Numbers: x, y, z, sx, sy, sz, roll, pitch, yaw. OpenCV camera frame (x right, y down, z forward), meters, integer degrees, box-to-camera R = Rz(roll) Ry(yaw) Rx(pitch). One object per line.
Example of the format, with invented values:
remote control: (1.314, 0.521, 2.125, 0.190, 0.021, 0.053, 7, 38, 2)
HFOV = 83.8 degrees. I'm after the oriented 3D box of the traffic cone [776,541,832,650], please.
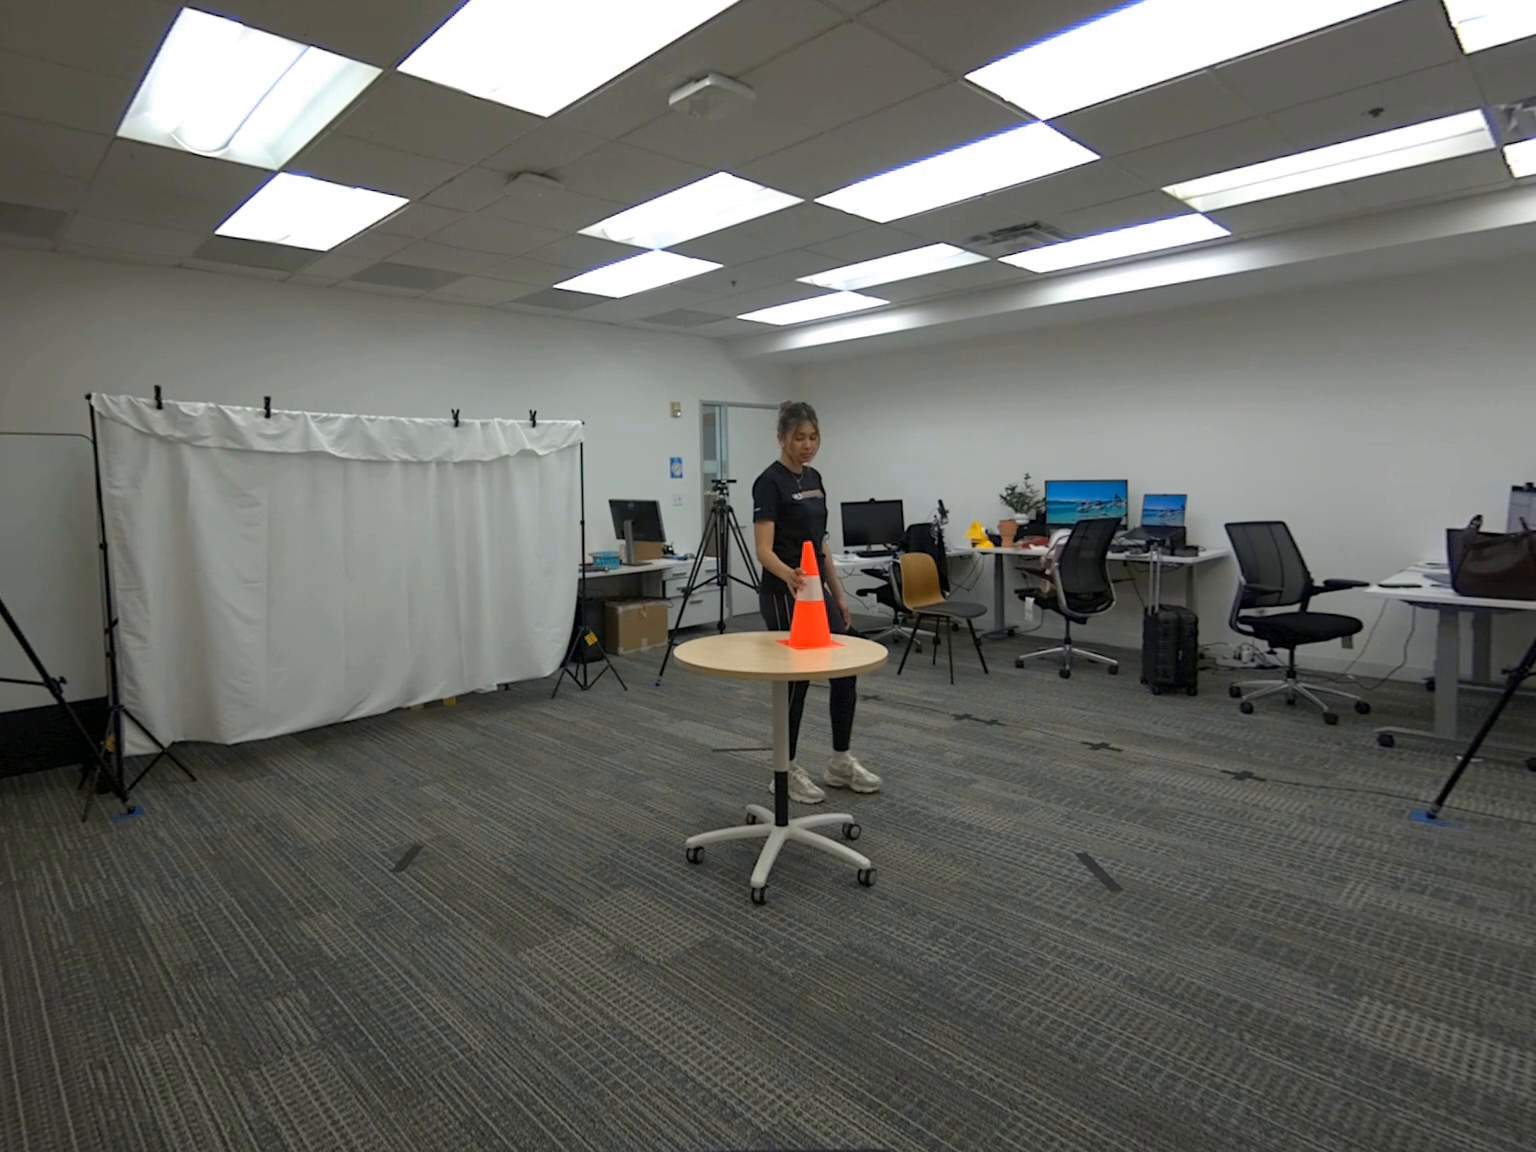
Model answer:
traffic cone: (0.154, 0.068, 3.175, 0.211, 0.383, 0.198, 2, 4, 38)
